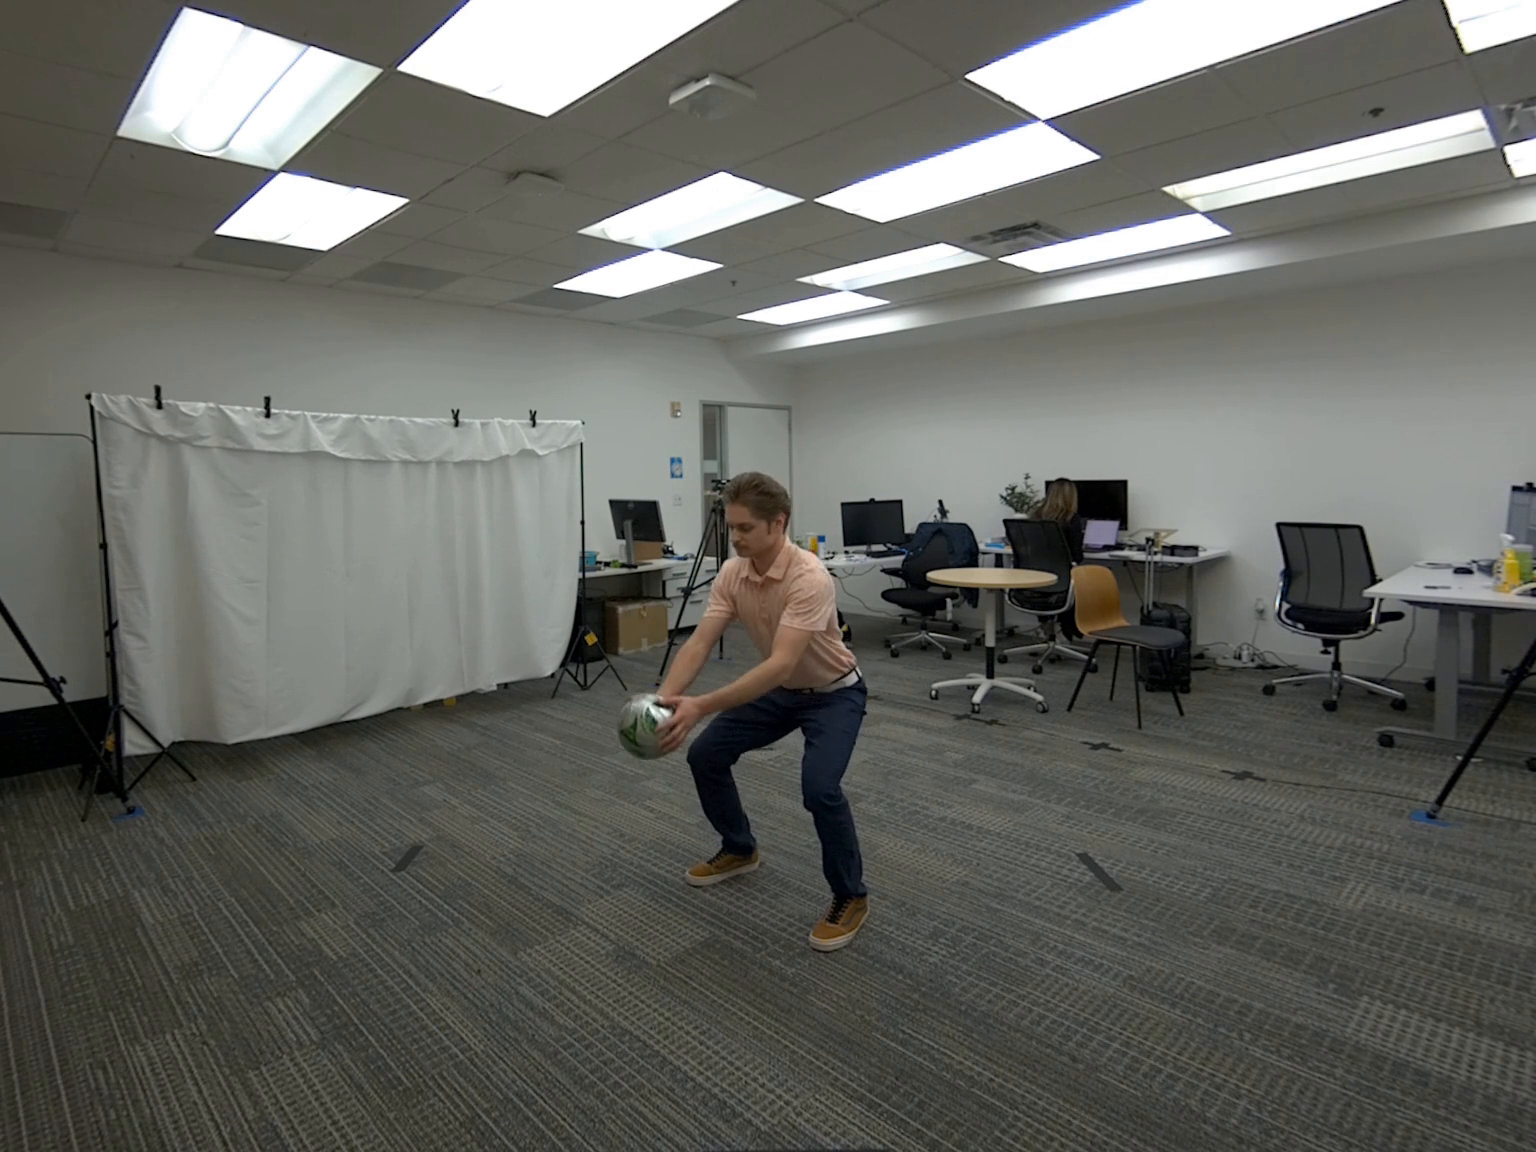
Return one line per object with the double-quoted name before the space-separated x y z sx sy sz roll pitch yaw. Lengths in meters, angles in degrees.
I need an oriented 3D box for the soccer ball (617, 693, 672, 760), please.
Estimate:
"soccer ball" -0.335 0.431 2.450 0.187 0.187 0.188 -1 5 -2
